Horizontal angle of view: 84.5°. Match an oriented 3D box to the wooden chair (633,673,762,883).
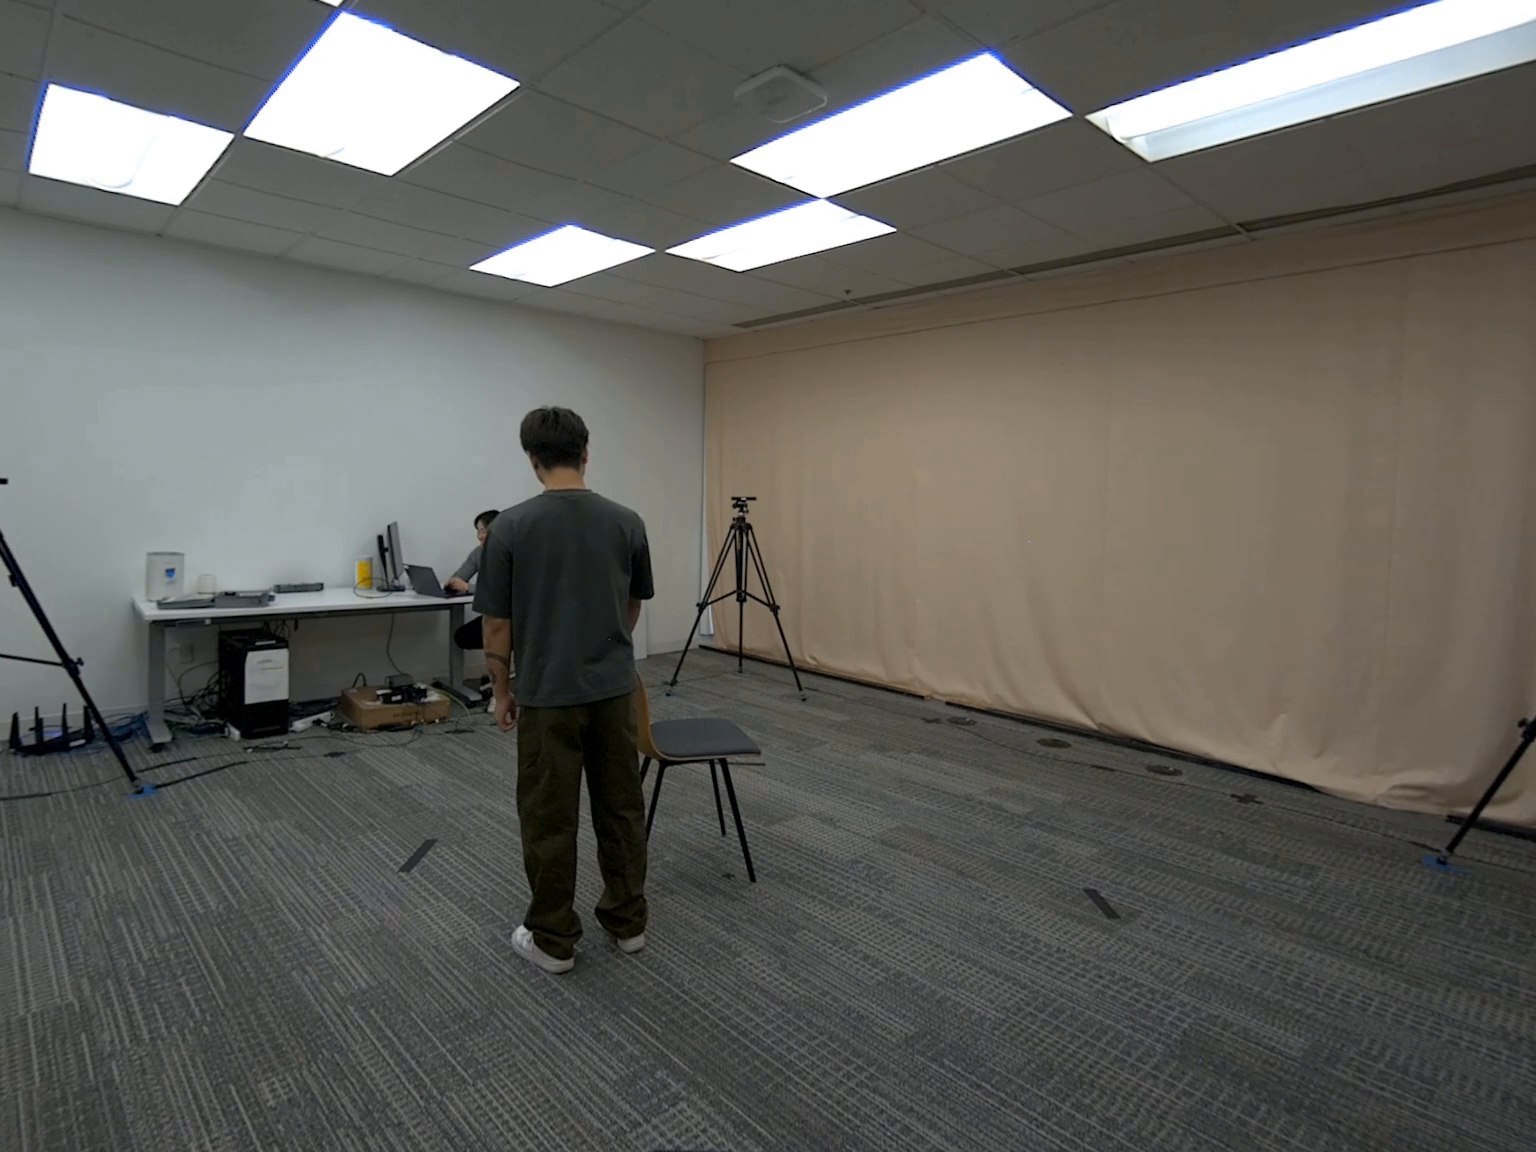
[{"bbox_3d":[-0.314,0.669,3.185,0.517,0.875,0.485,-4,4,-16],"label":"wooden chair"}]
